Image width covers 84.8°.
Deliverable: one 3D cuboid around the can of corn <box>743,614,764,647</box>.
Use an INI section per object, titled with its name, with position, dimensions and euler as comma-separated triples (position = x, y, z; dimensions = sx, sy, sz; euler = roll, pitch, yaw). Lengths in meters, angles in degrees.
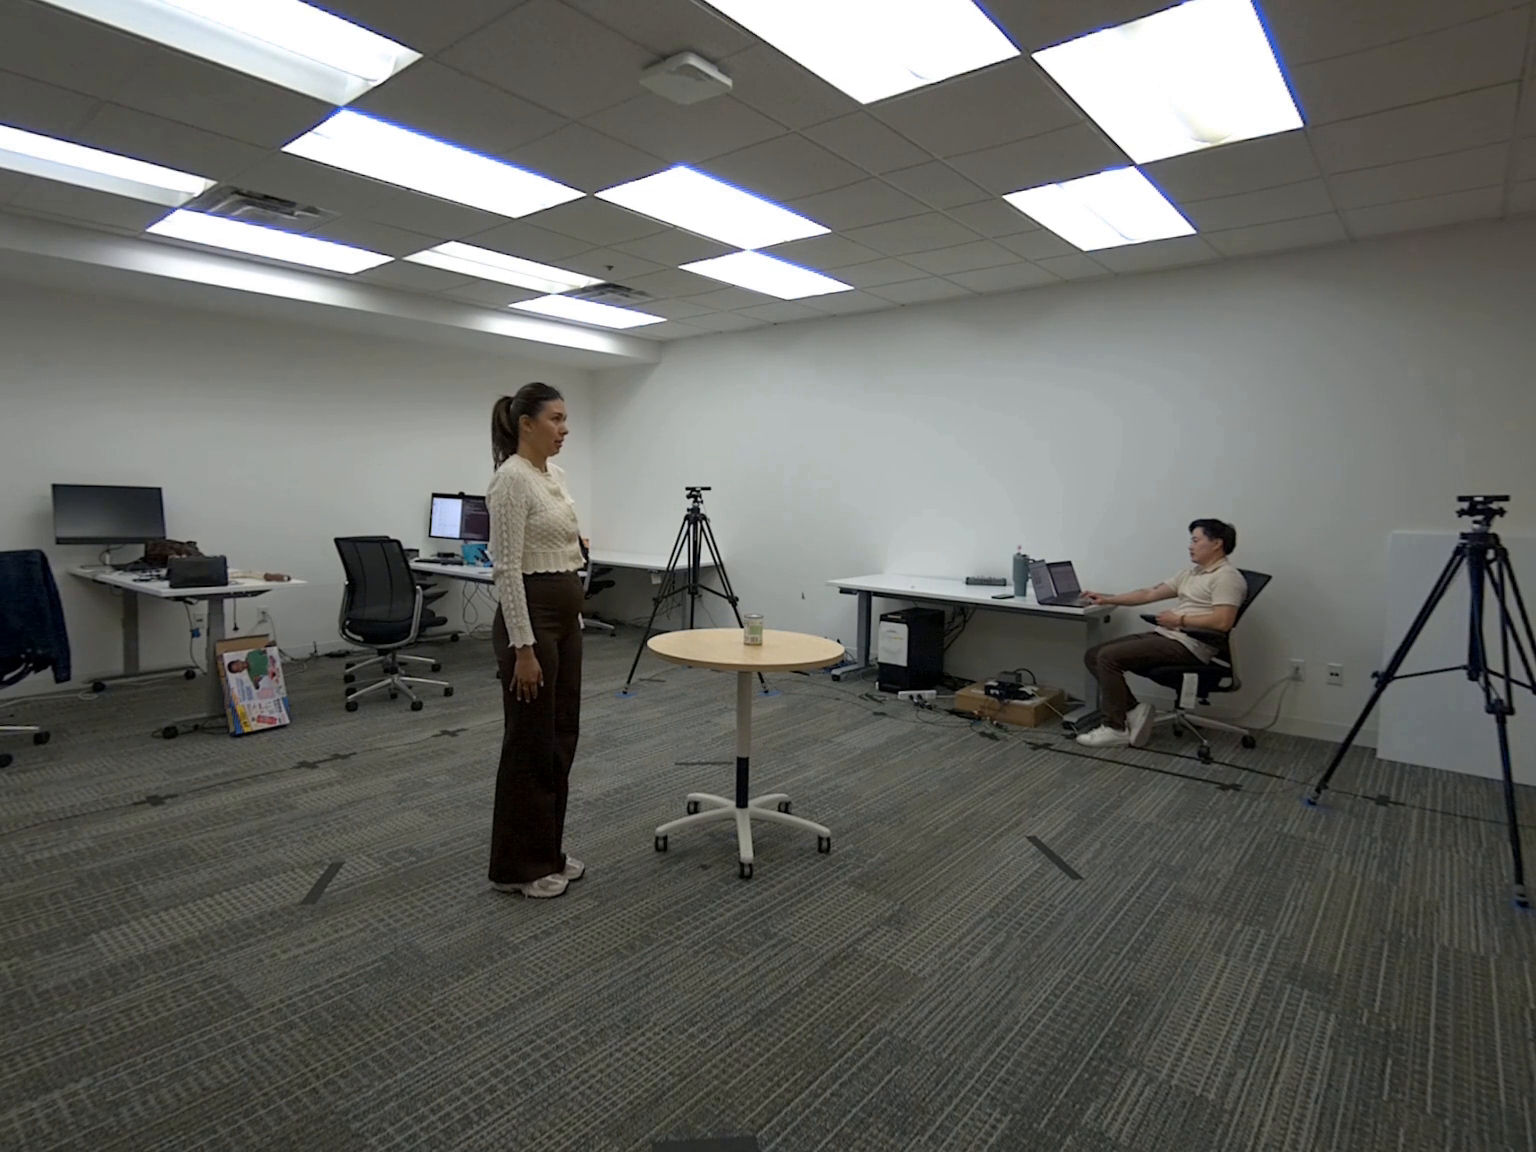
[can of corn]
position = -0.070, 0.208, 3.317
dimensions = 0.074, 0.111, 0.074
euler = 2, 2, -2
